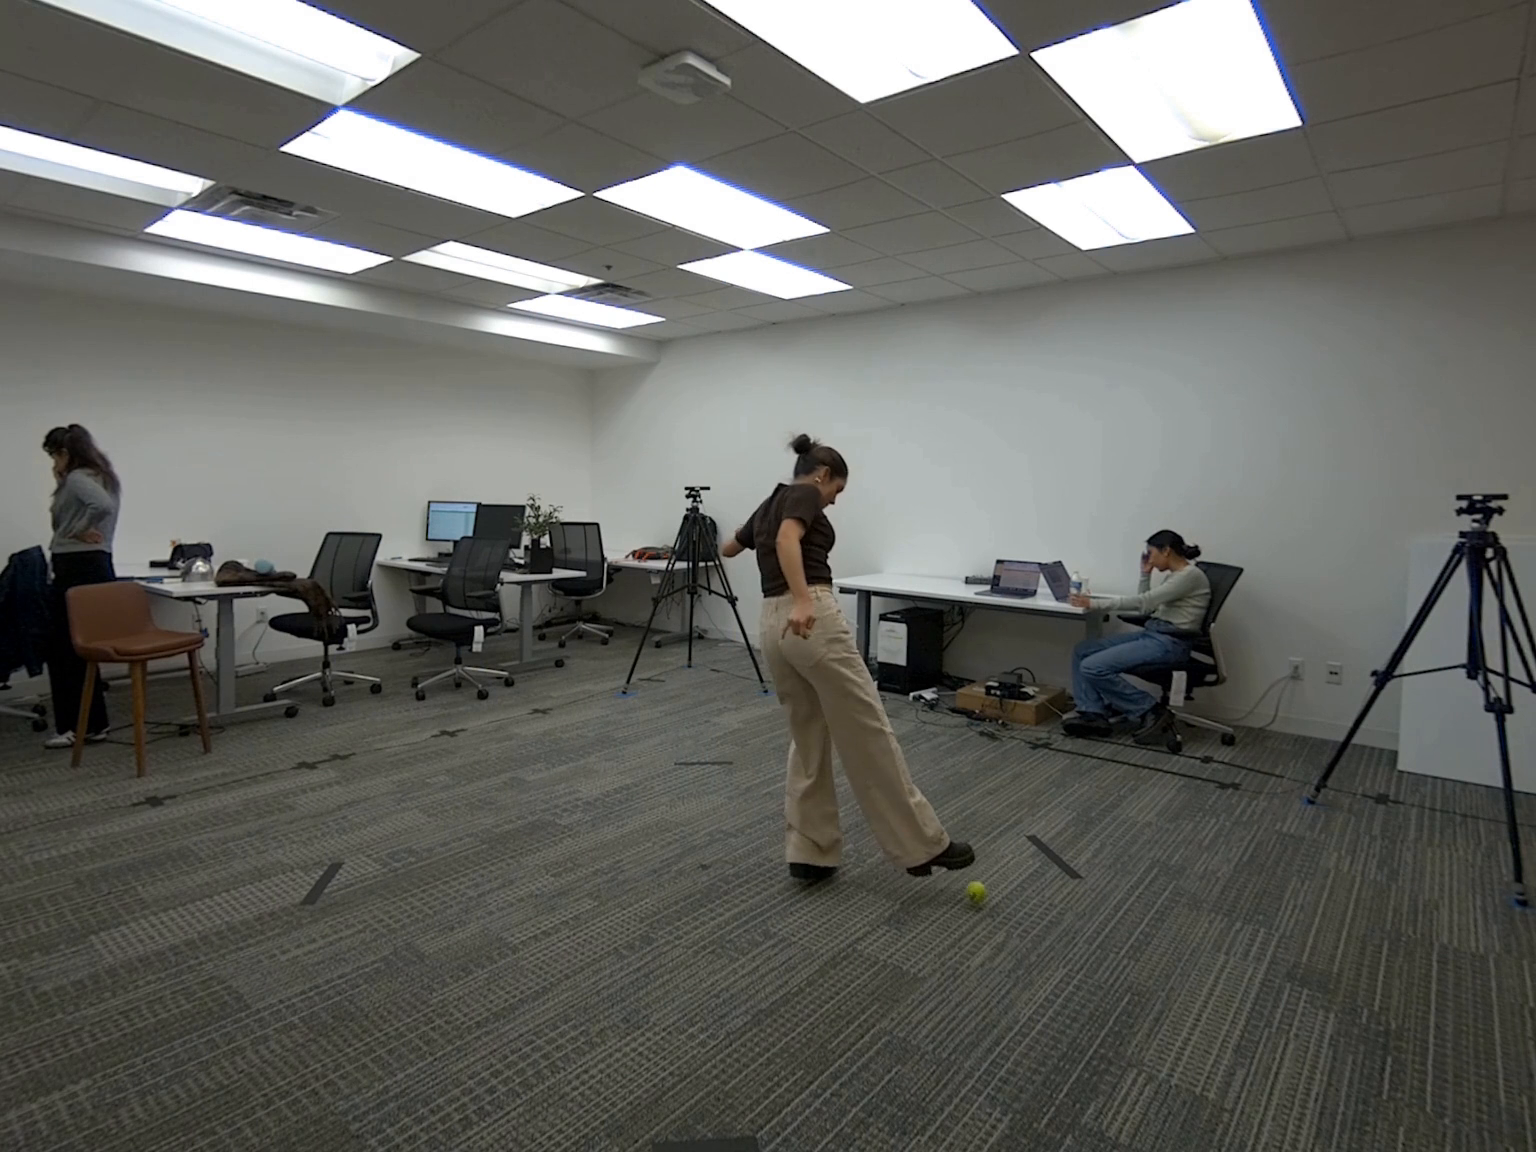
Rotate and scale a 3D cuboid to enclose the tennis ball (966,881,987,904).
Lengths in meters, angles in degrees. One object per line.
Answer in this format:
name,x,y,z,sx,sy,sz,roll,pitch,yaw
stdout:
tennis ball,0.675,1.058,2.858,0.066,0.066,0.067,1,4,-2
